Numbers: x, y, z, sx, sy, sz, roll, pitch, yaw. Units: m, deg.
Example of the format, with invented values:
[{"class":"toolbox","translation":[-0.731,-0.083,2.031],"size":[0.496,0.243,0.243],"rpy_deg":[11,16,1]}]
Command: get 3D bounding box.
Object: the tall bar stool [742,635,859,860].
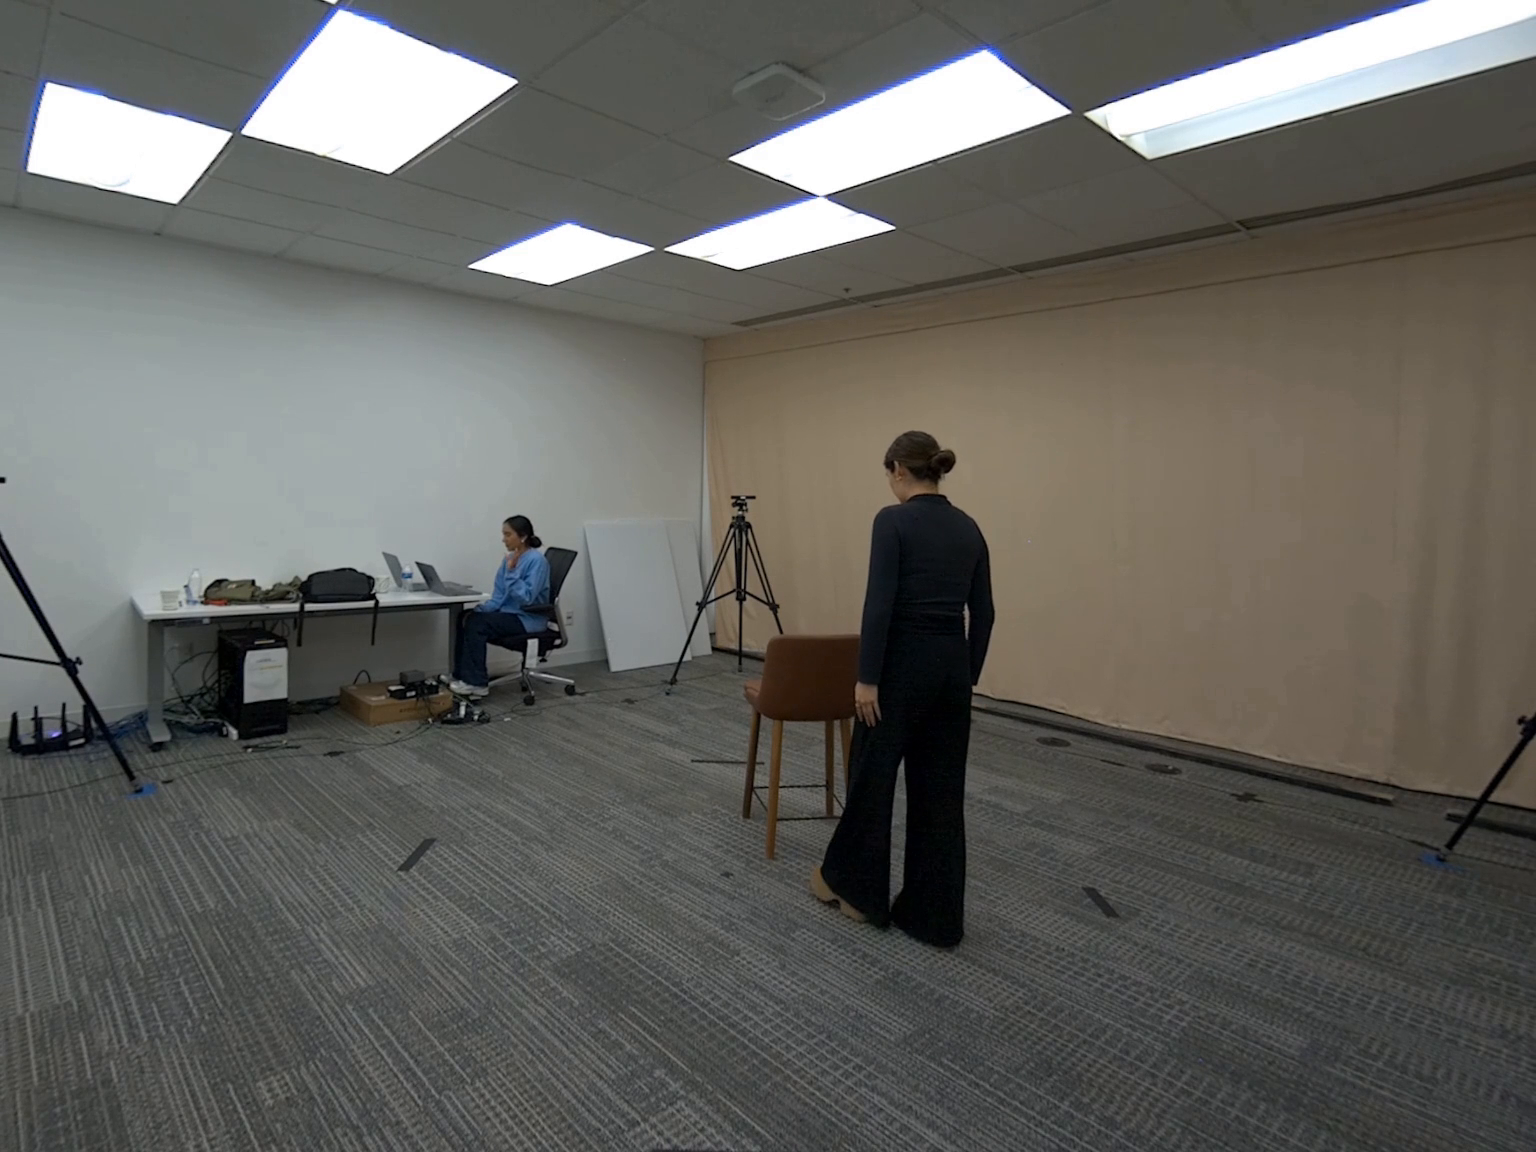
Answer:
[{"class":"tall bar stool","translation":[0.139,0.636,3.454],"size":[0.453,0.886,0.473],"rpy_deg":[1,5,-11]}]
